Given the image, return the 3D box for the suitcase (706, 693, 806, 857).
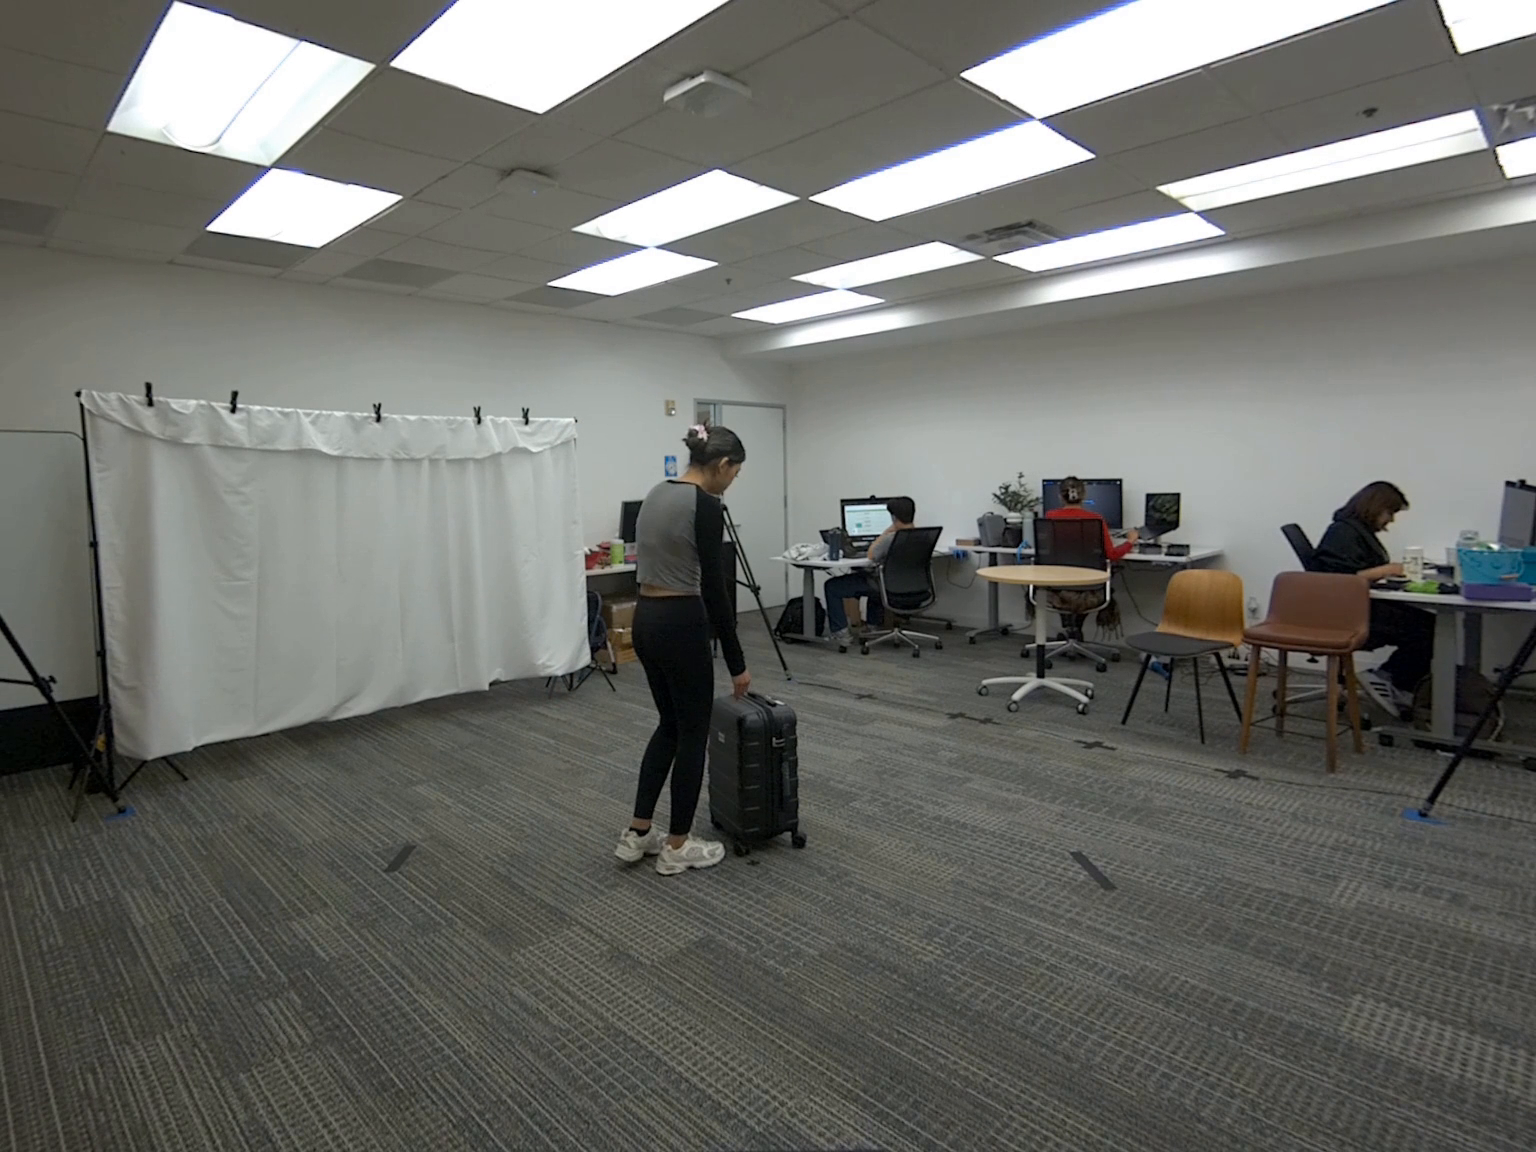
[{"bbox_3d":[-0.059,0.739,3.312,0.243,0.547,0.385,-3,6,-26],"label":"suitcase"}]
